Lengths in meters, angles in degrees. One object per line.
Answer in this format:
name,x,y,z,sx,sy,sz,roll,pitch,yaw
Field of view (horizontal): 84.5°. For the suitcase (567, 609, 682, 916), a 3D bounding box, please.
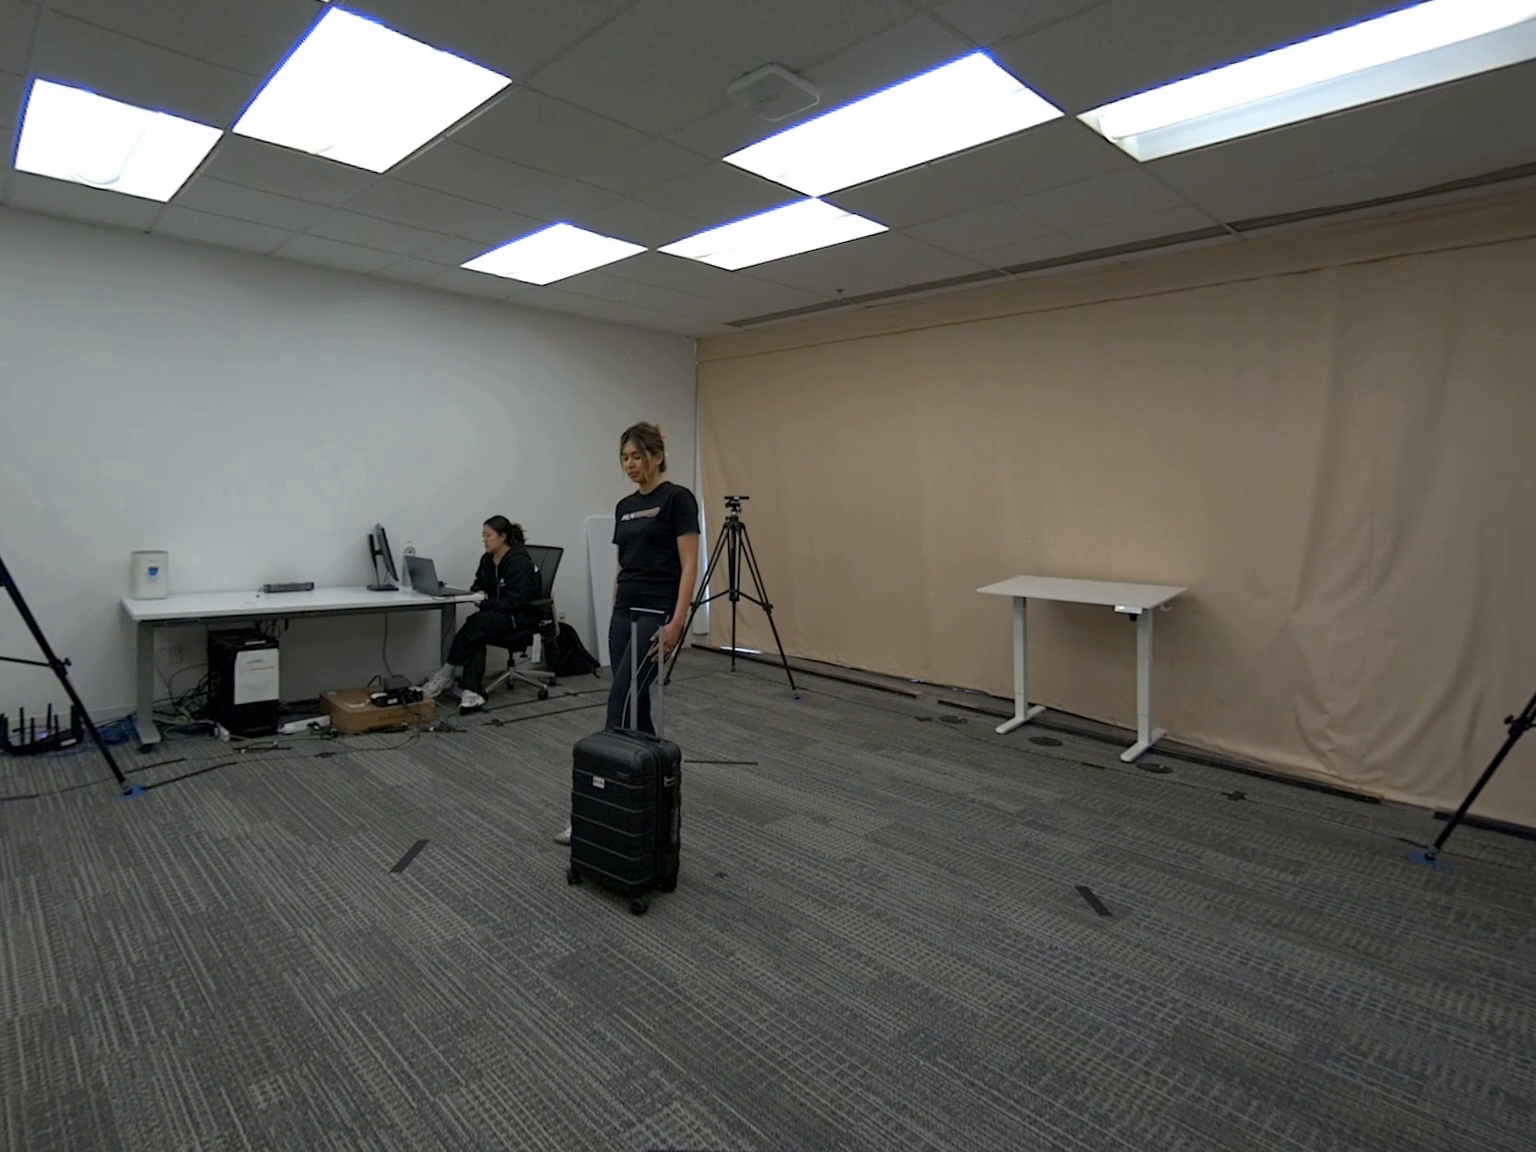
suitcase,-0.501,0.631,2.950,0.393,0.974,0.252,6,7,35
